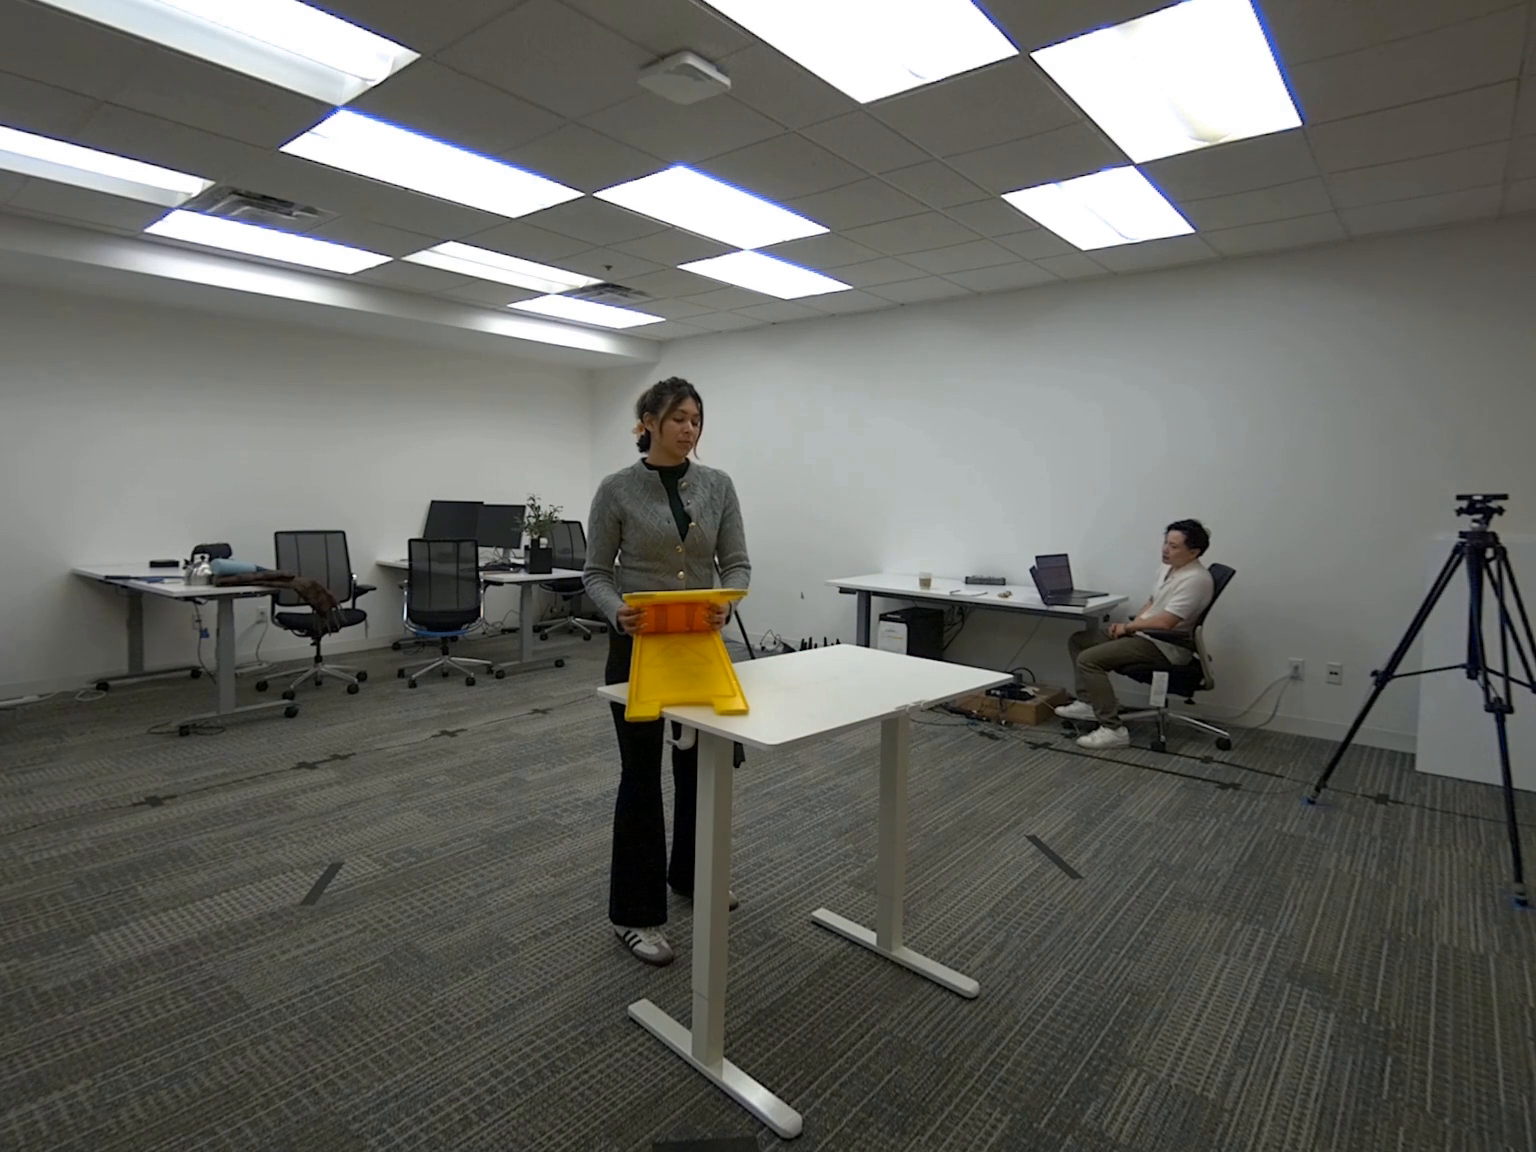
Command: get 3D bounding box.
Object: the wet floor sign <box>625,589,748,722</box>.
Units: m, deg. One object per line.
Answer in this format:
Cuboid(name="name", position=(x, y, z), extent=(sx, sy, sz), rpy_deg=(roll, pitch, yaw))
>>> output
Cuboid(name="wet floor sign", position=(-0.235, 0.134, 2.194), extent=(0.280, 0.288, 0.655), rpy_deg=(-3, 7, -9))
